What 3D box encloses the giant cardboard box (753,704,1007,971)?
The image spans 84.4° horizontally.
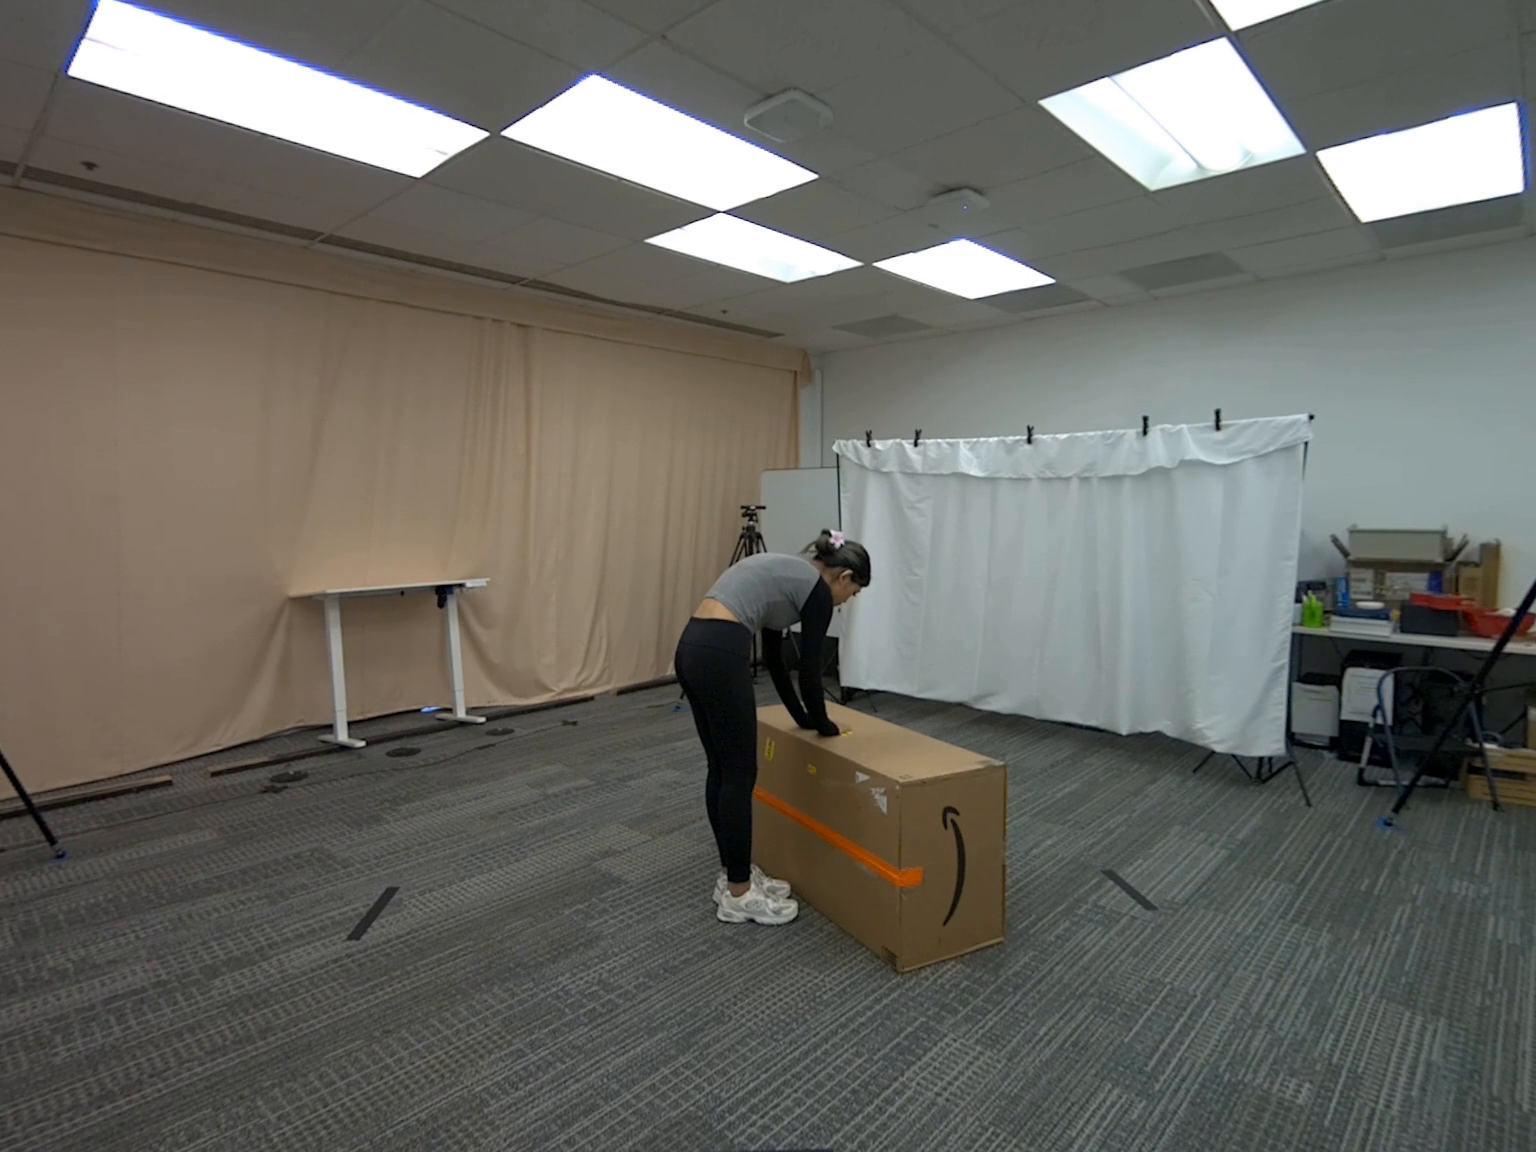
[{"bbox_3d":[0.320,0.851,3.033,0.415,0.576,1.055,-2,4,-29],"label":"giant cardboard box"}]
